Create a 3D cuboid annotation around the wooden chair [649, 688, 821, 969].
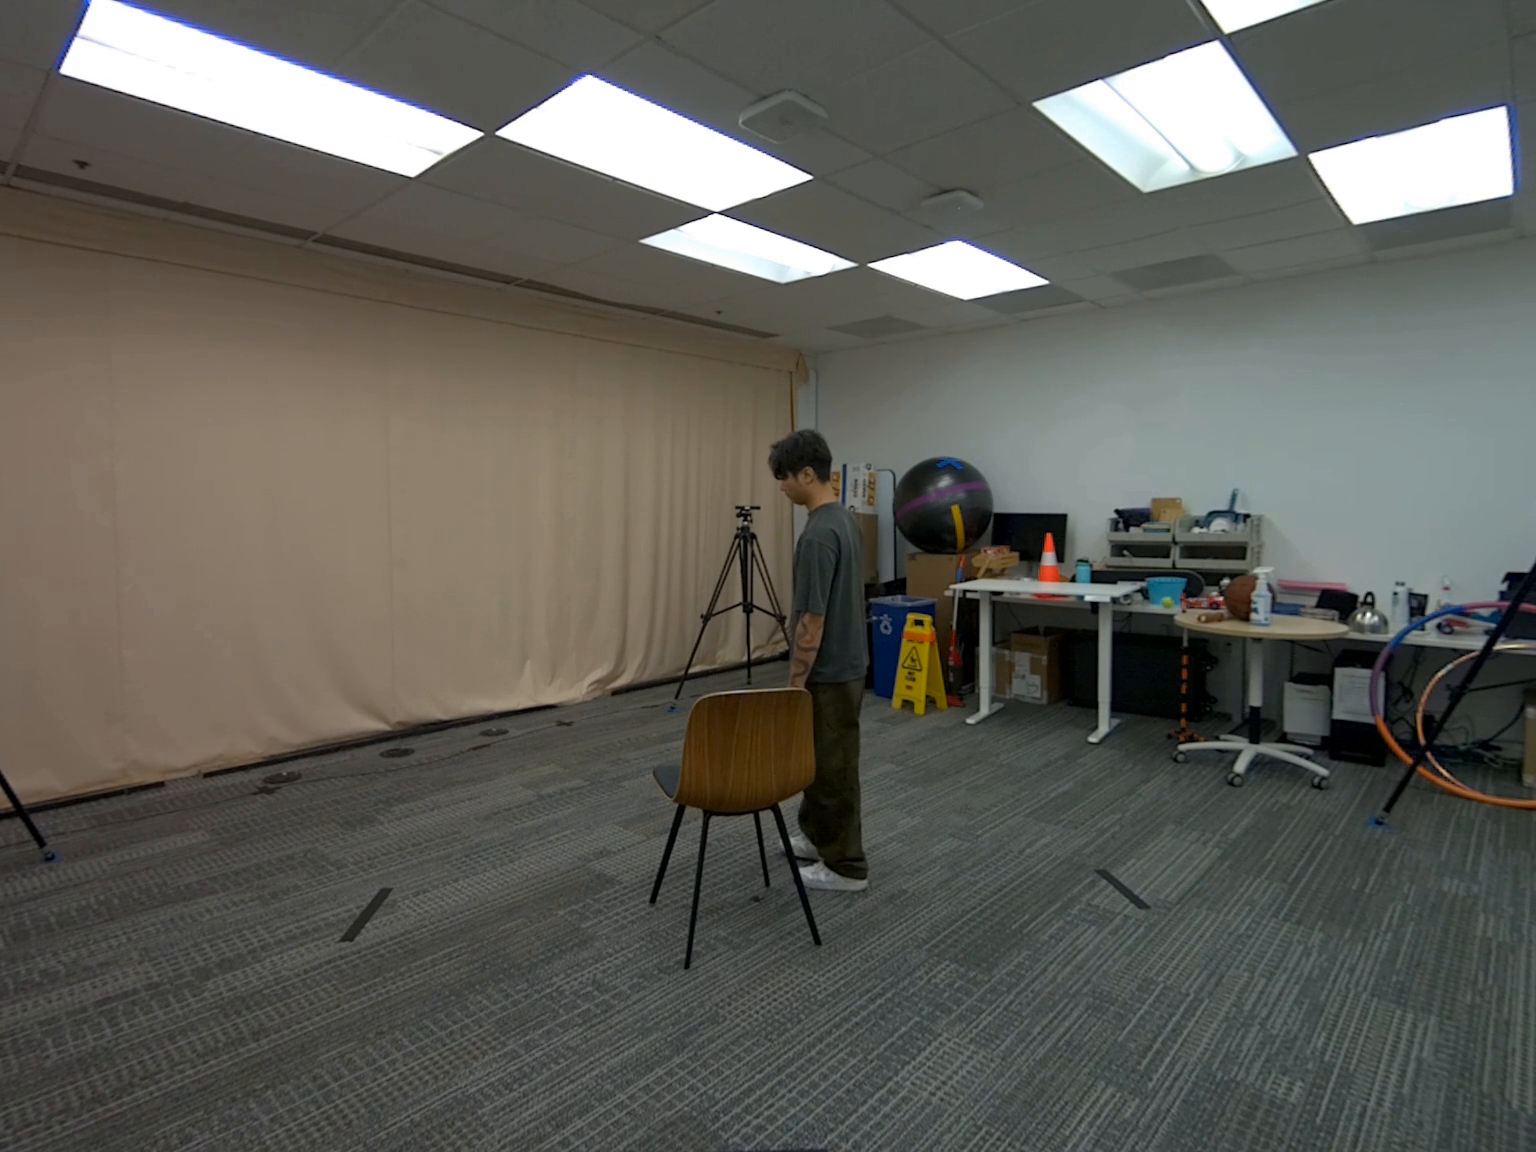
[{"bbox_3d":[-0.124,0.731,2.786,0.469,0.873,0.536,-1,8,-20],"label":"wooden chair"}]
